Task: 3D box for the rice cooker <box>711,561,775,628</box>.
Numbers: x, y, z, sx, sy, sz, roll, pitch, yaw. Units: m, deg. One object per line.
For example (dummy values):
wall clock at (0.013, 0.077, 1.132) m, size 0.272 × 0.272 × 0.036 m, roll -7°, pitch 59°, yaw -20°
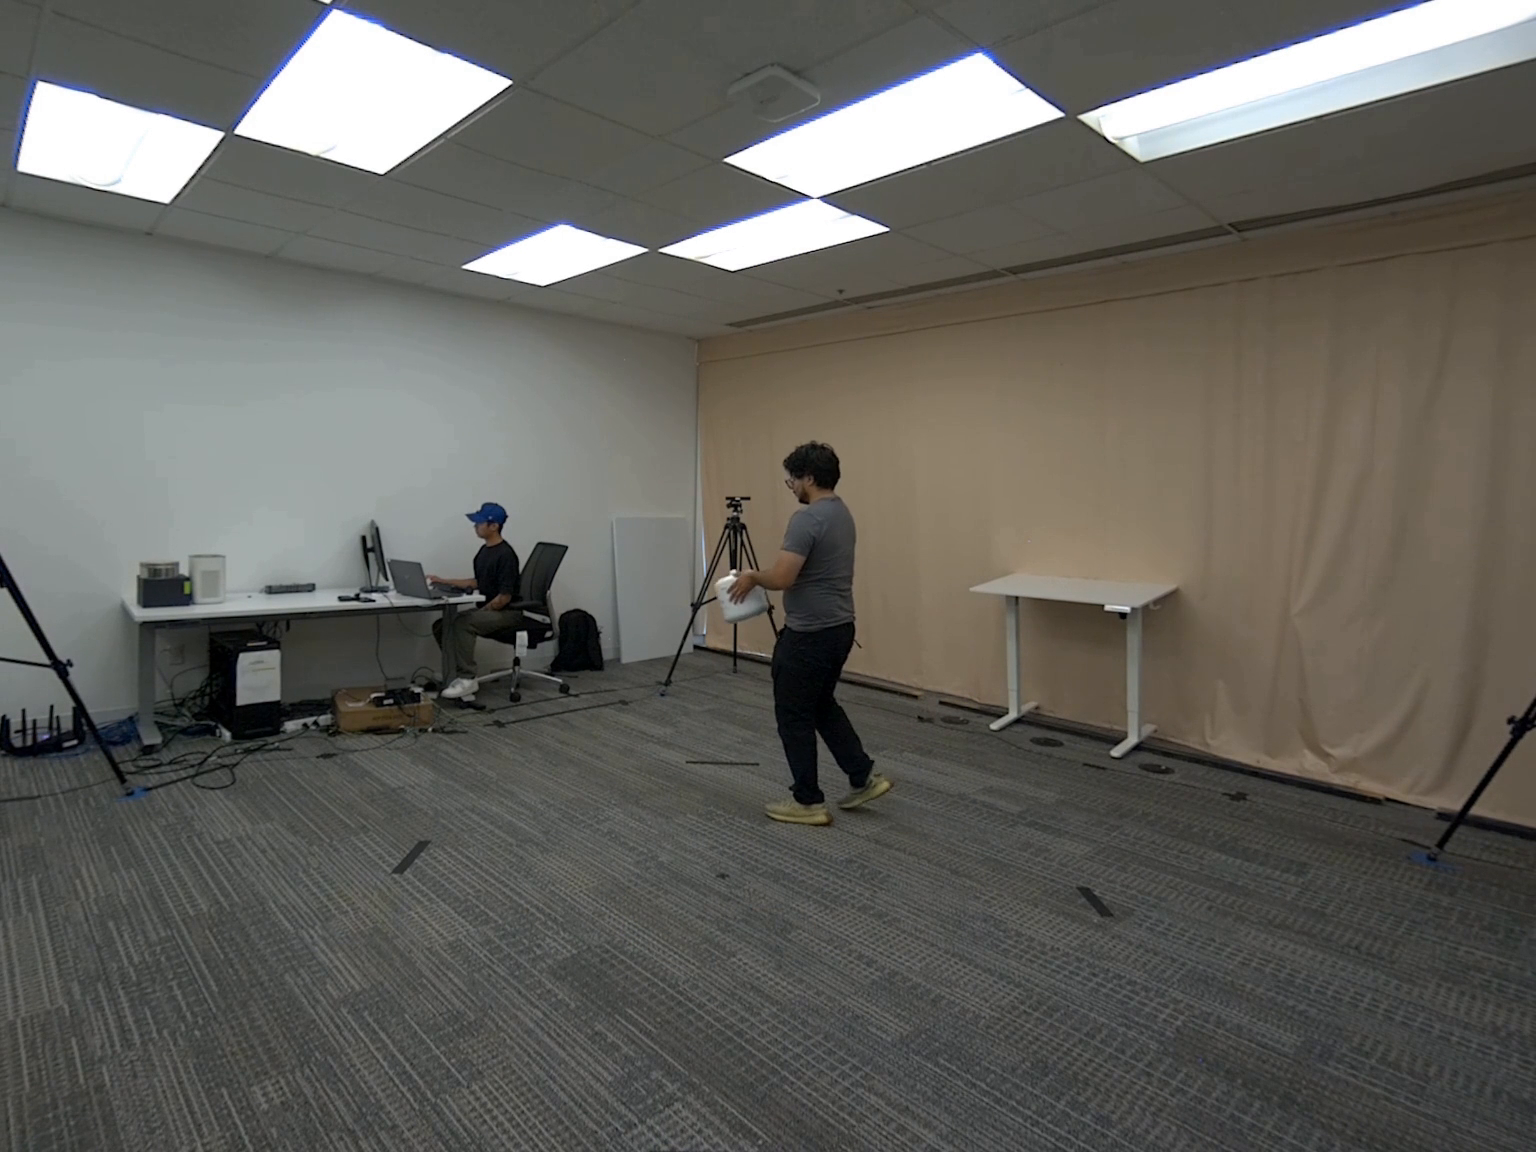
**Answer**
rice cooker at (-0.118, 0.086, 3.821) m, size 0.217 × 0.234 × 0.220 m, roll -17°, pitch -5°, yaw -3°
